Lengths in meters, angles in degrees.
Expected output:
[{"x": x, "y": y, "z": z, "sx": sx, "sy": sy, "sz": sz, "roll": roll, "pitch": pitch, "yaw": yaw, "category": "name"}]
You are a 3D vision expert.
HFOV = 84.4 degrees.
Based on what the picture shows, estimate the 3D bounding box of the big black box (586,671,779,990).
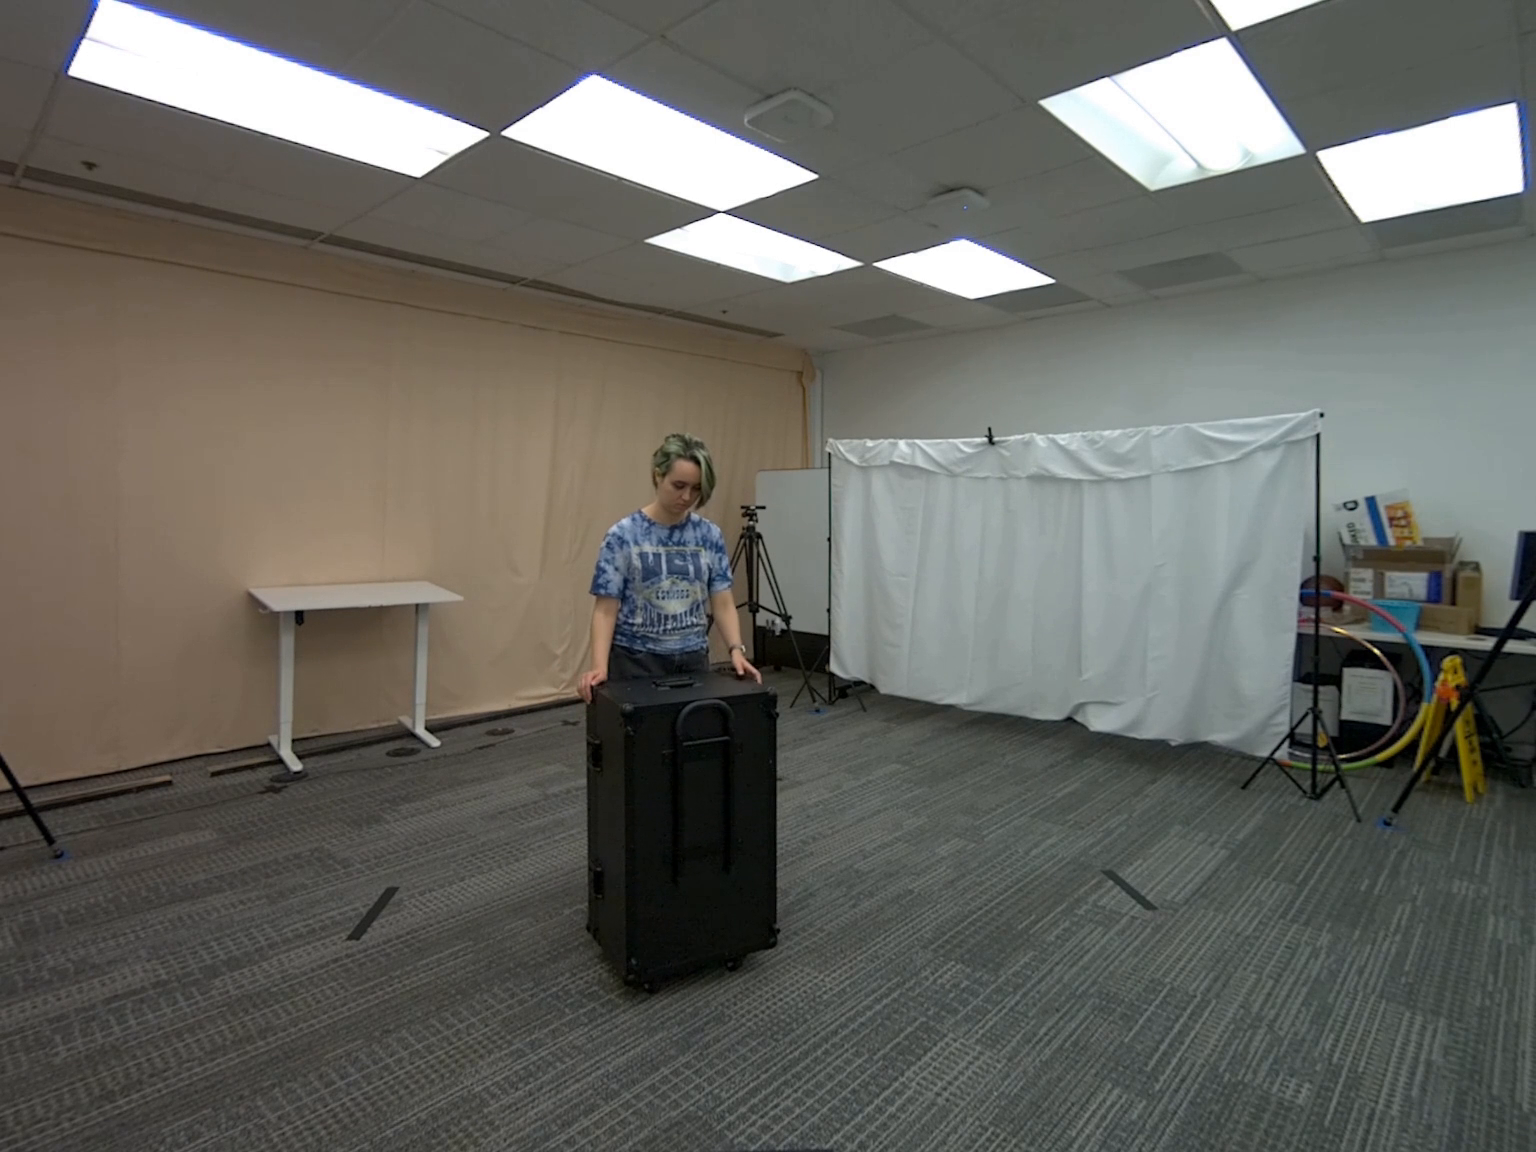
[{"x": -0.253, "y": 0.765, "z": 2.548, "sx": 0.508, "sy": 0.859, "sz": 0.407, "roll": -2, "pitch": 5, "yaw": -28, "category": "big black box"}]
